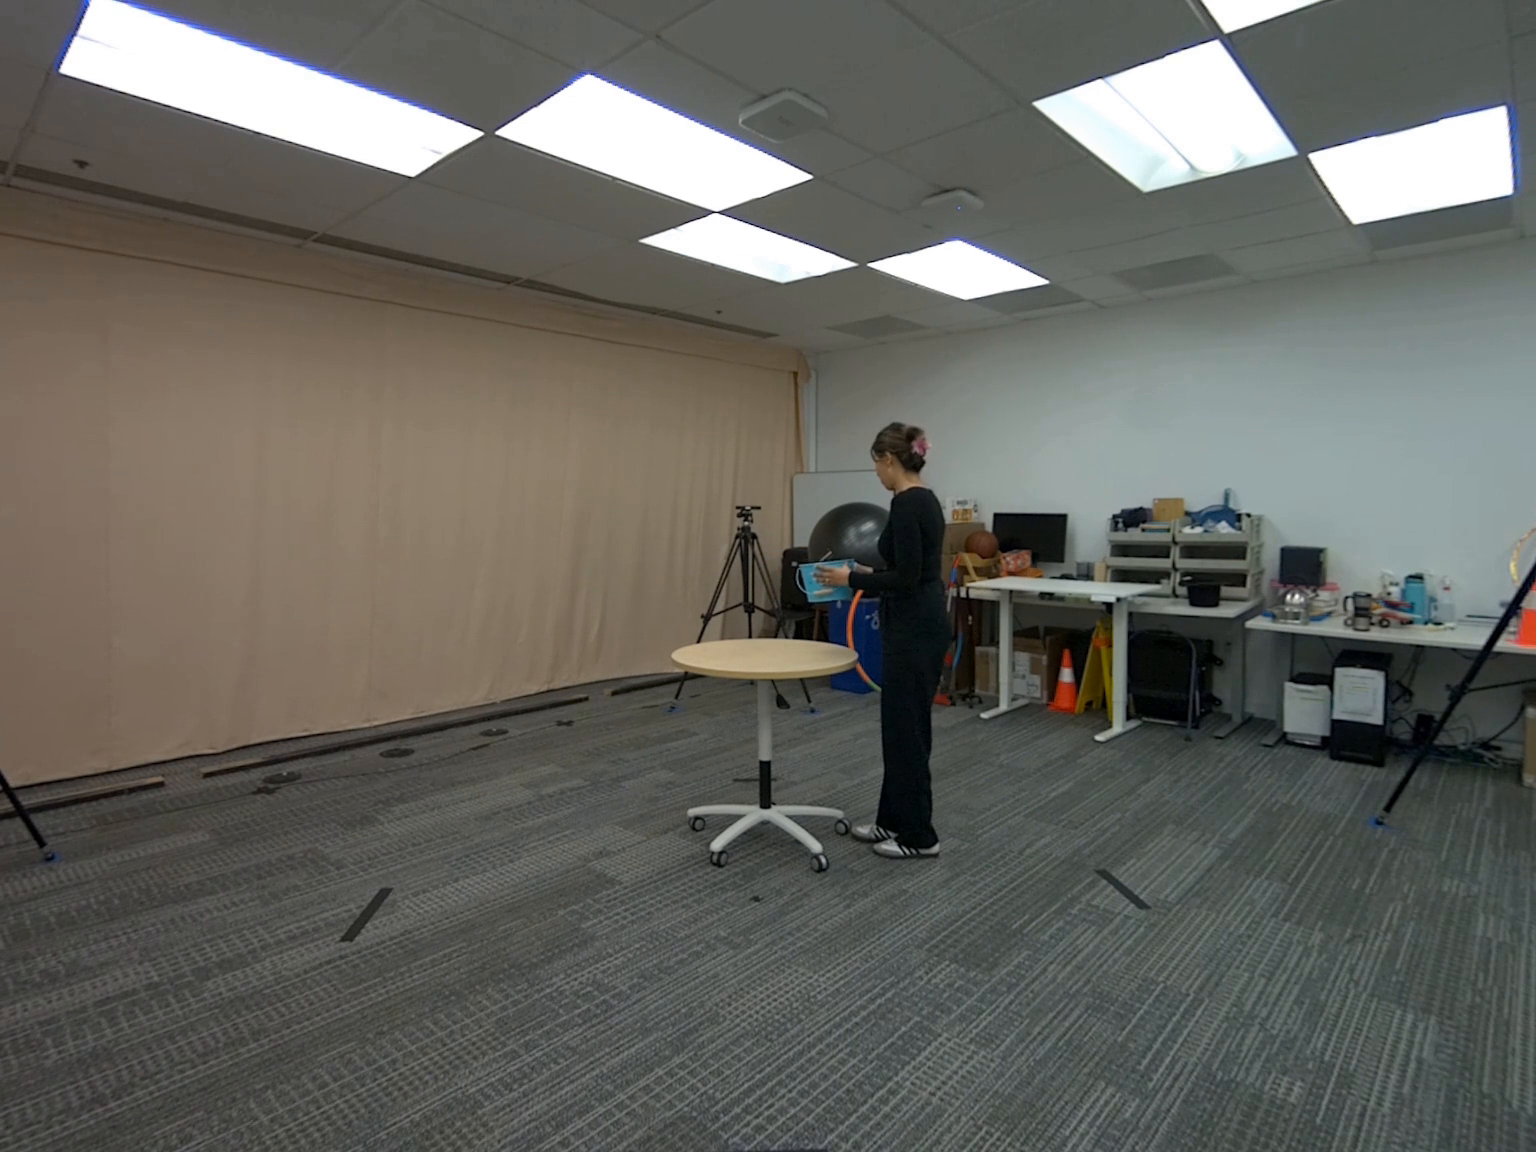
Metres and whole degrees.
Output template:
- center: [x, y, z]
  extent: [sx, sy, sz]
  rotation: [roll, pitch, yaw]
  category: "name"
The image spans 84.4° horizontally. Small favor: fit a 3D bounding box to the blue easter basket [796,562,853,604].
- center: [0.255, 0.026, 3.457]
  extent: [0.243, 0.156, 0.243]
  rotation: [-4, -1, -2]
  category: "blue easter basket"
